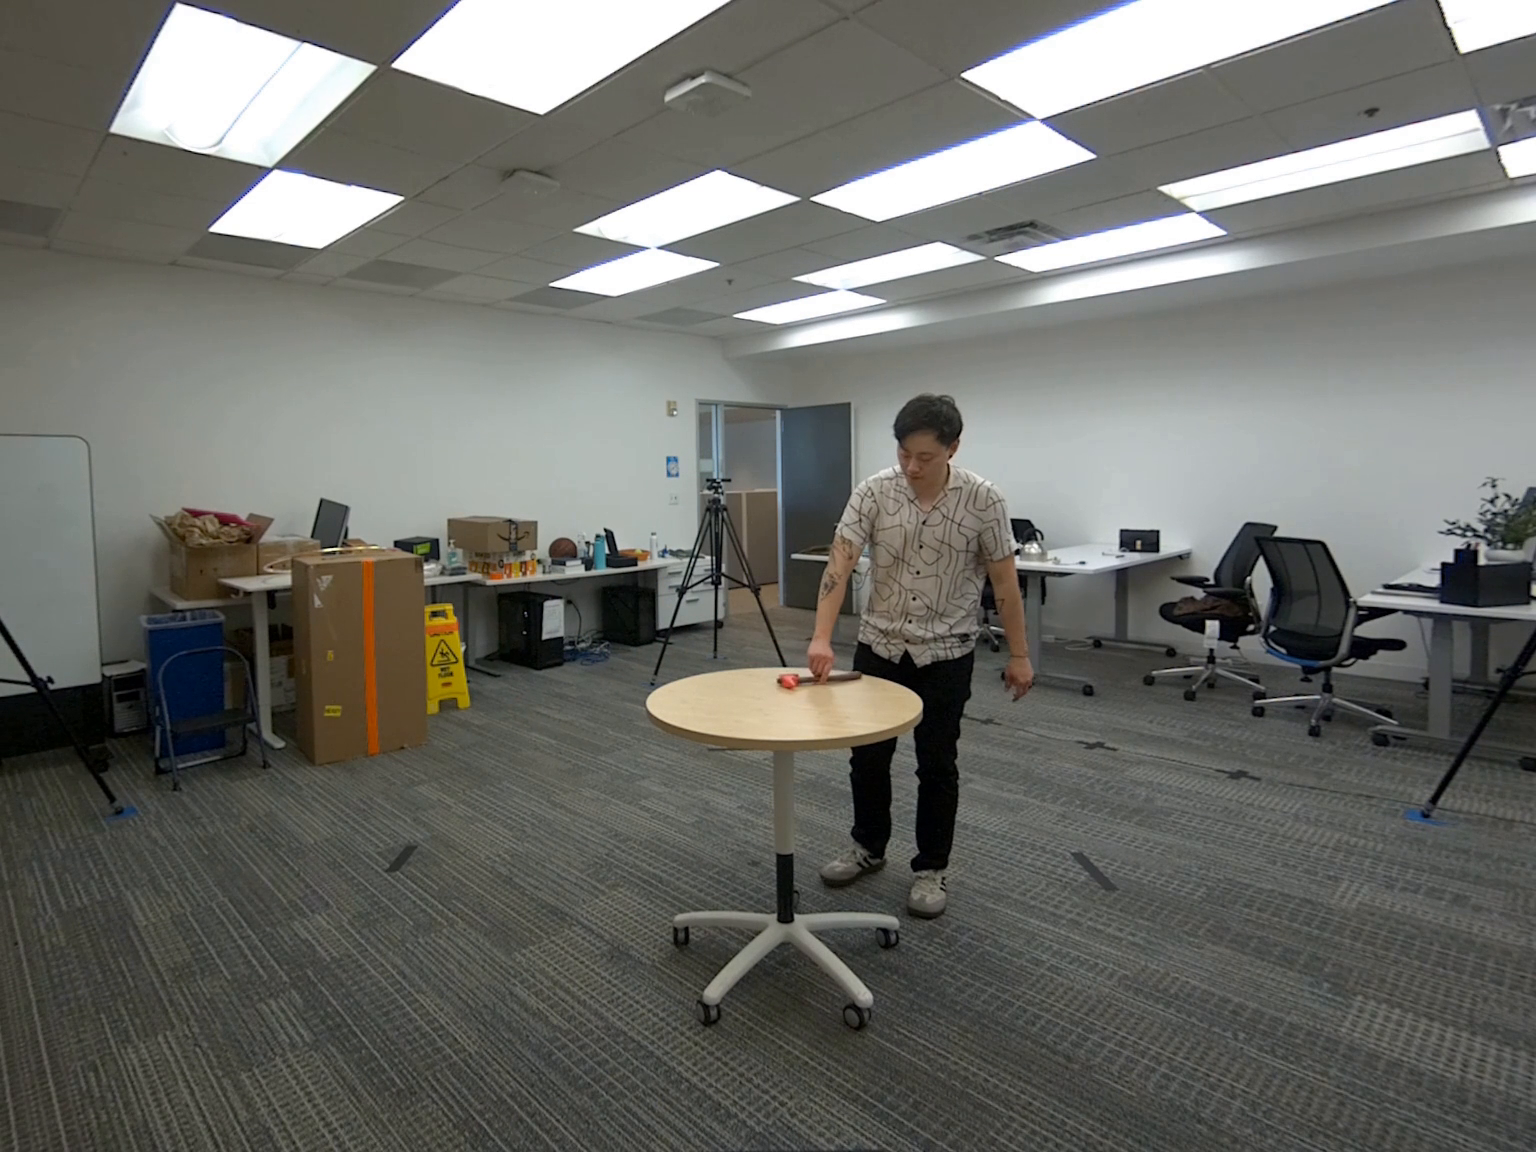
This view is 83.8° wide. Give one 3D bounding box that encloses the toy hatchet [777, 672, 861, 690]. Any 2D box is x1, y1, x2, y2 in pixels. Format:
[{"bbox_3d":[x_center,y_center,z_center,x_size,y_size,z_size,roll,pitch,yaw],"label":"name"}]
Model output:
[{"bbox_3d":[0.157,0.310,2.581,0.263,0.029,0.135,-3,5,-33],"label":"toy hatchet"}]
